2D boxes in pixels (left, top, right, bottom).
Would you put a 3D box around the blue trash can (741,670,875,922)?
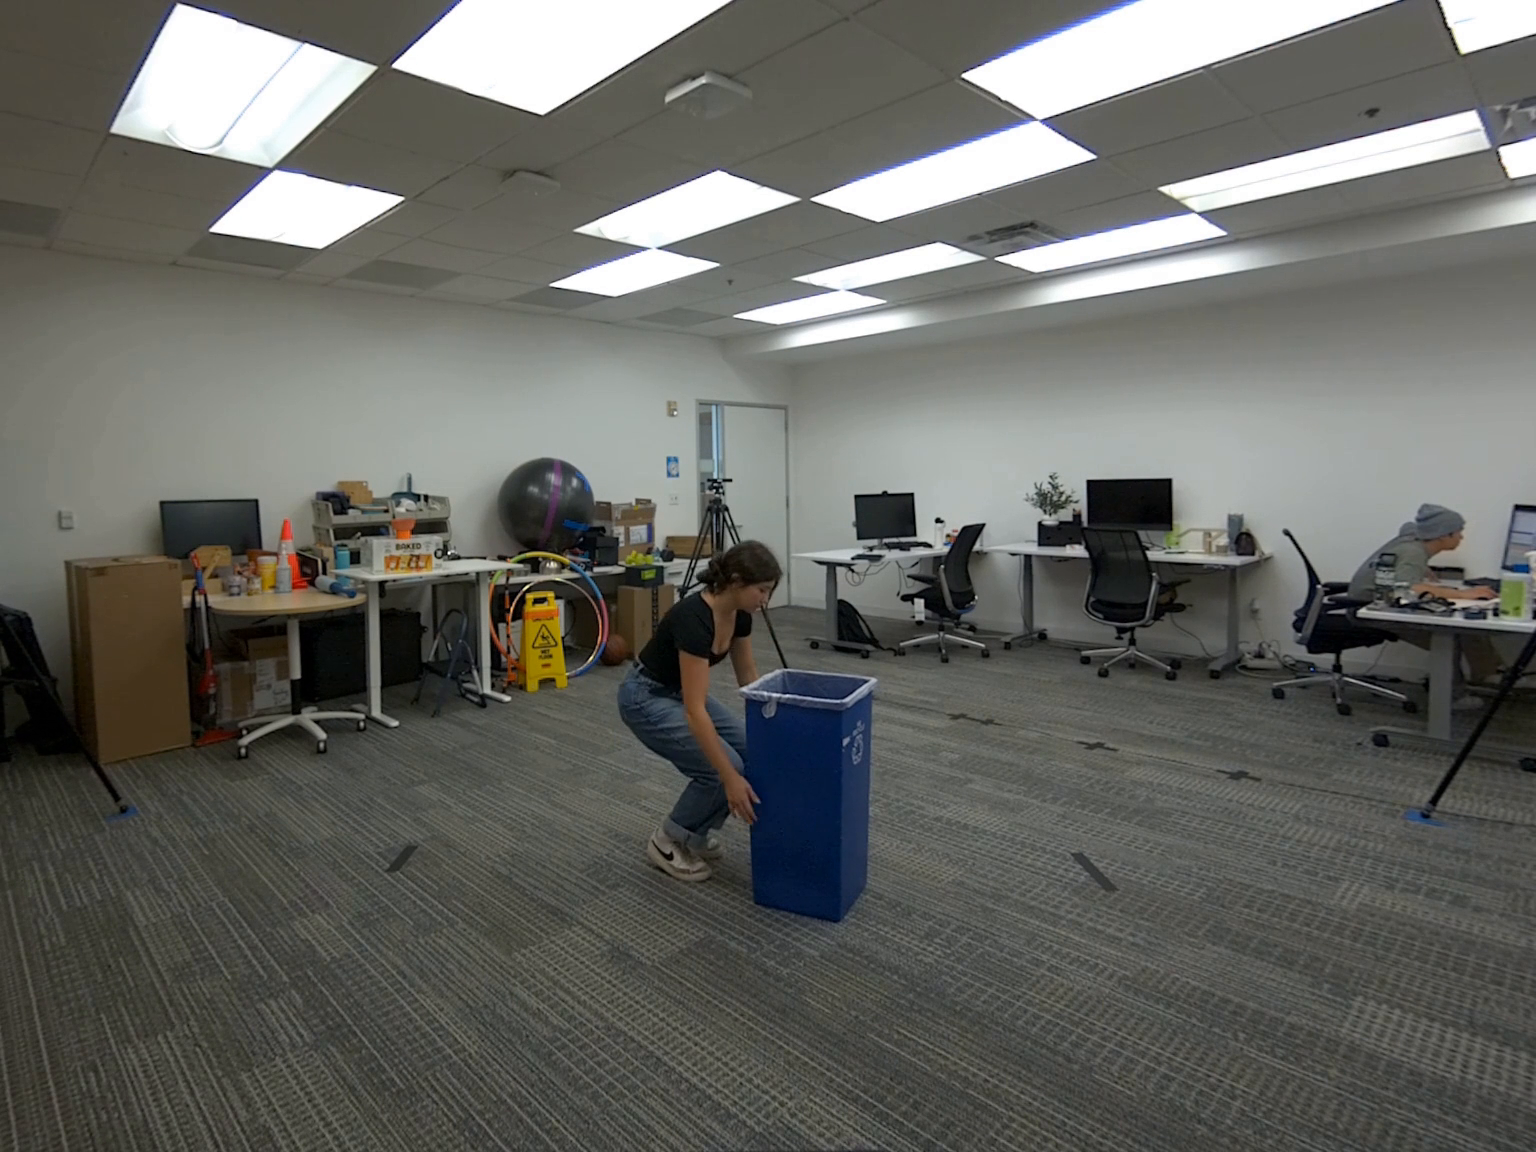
[{"bbox_3d":[0.145,0.710,2.859,0.387,0.711,0.367,1,5,26],"label":"blue trash can"}]
